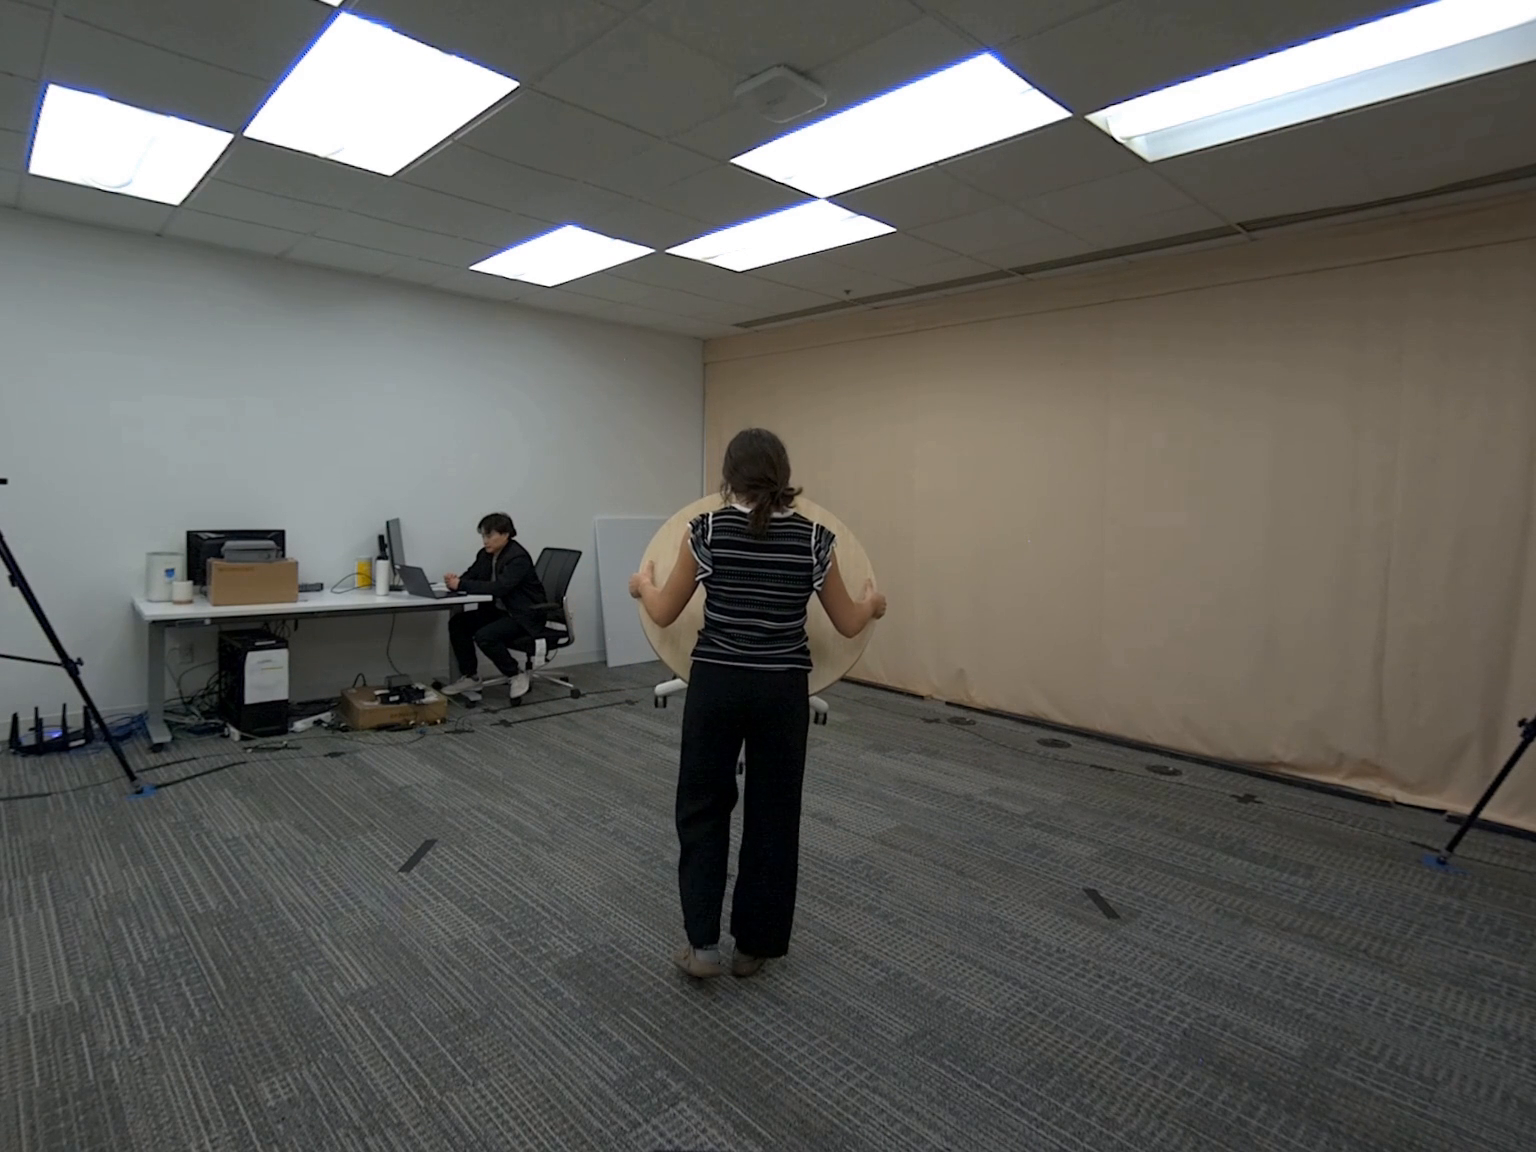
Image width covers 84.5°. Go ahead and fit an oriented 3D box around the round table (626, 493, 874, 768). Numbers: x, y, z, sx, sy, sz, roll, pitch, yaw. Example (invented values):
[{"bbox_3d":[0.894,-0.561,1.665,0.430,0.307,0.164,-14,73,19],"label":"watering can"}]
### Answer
[{"bbox_3d":[-0.072,0.242,3.008,0.763,0.778,0.780,1,-29,-3],"label":"round table"}]
